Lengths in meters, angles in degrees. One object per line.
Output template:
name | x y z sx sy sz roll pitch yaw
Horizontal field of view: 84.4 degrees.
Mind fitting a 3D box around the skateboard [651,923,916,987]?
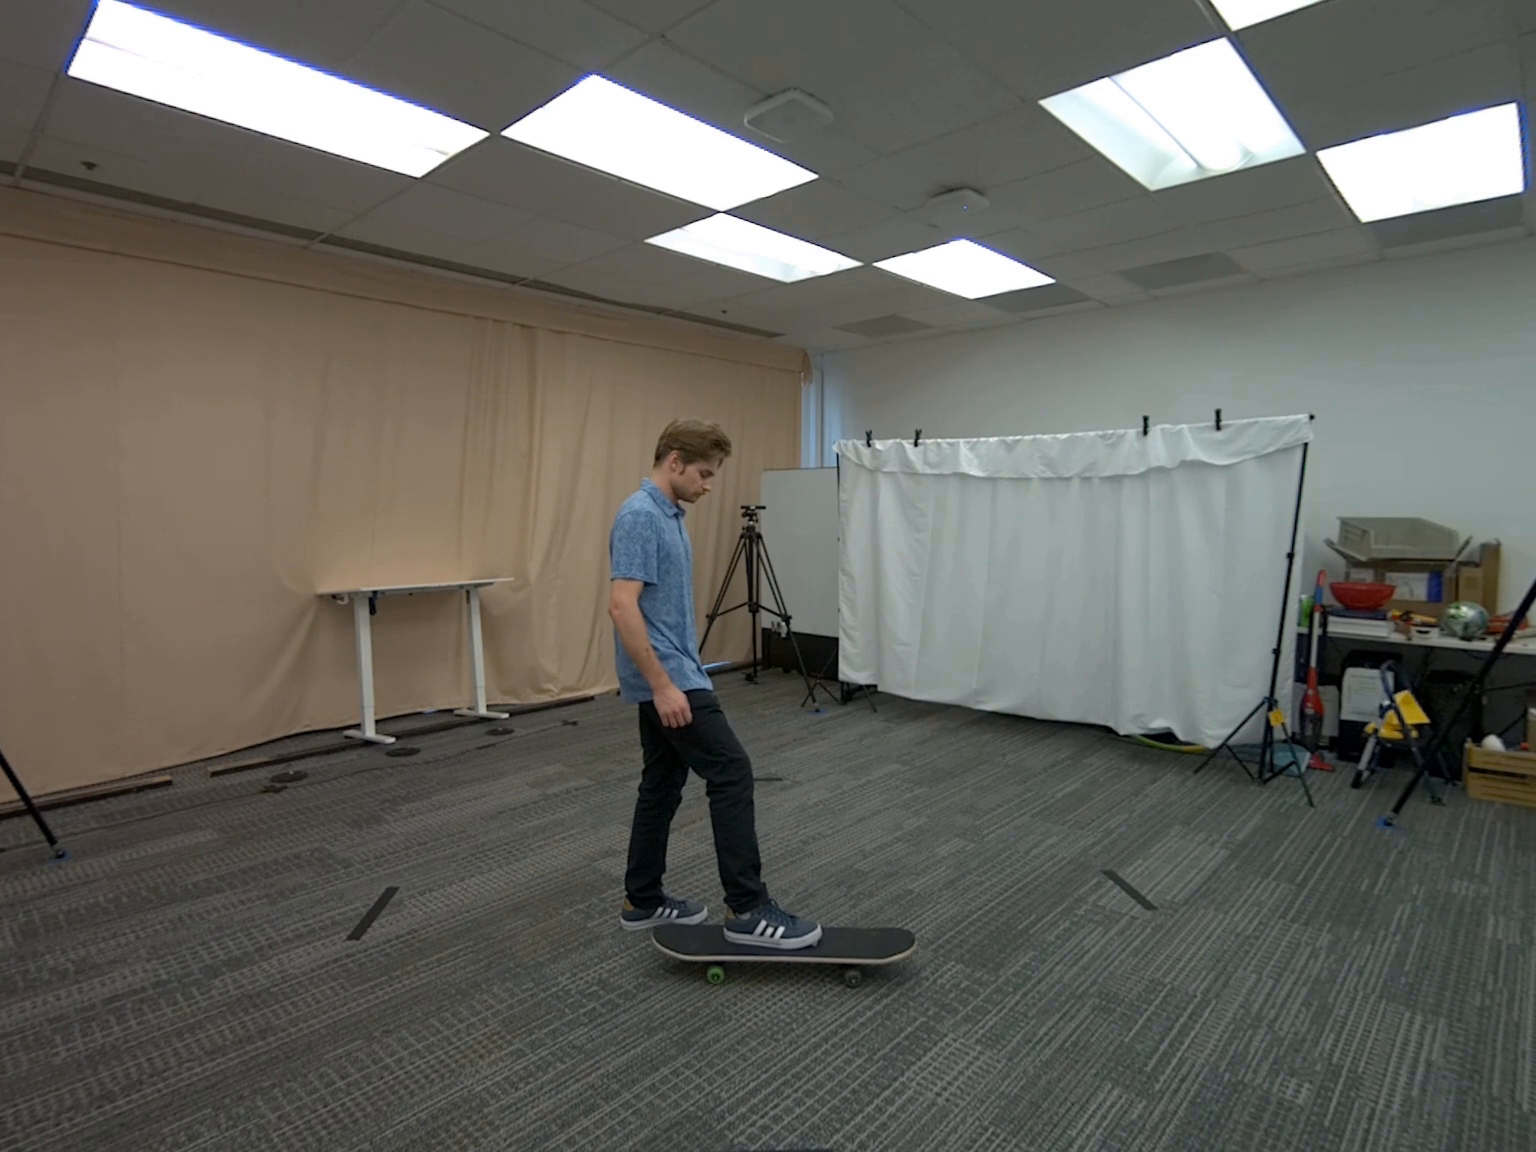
skateboard | 0.049 1.122 2.525 0.787 0.110 0.193 0 2 2
